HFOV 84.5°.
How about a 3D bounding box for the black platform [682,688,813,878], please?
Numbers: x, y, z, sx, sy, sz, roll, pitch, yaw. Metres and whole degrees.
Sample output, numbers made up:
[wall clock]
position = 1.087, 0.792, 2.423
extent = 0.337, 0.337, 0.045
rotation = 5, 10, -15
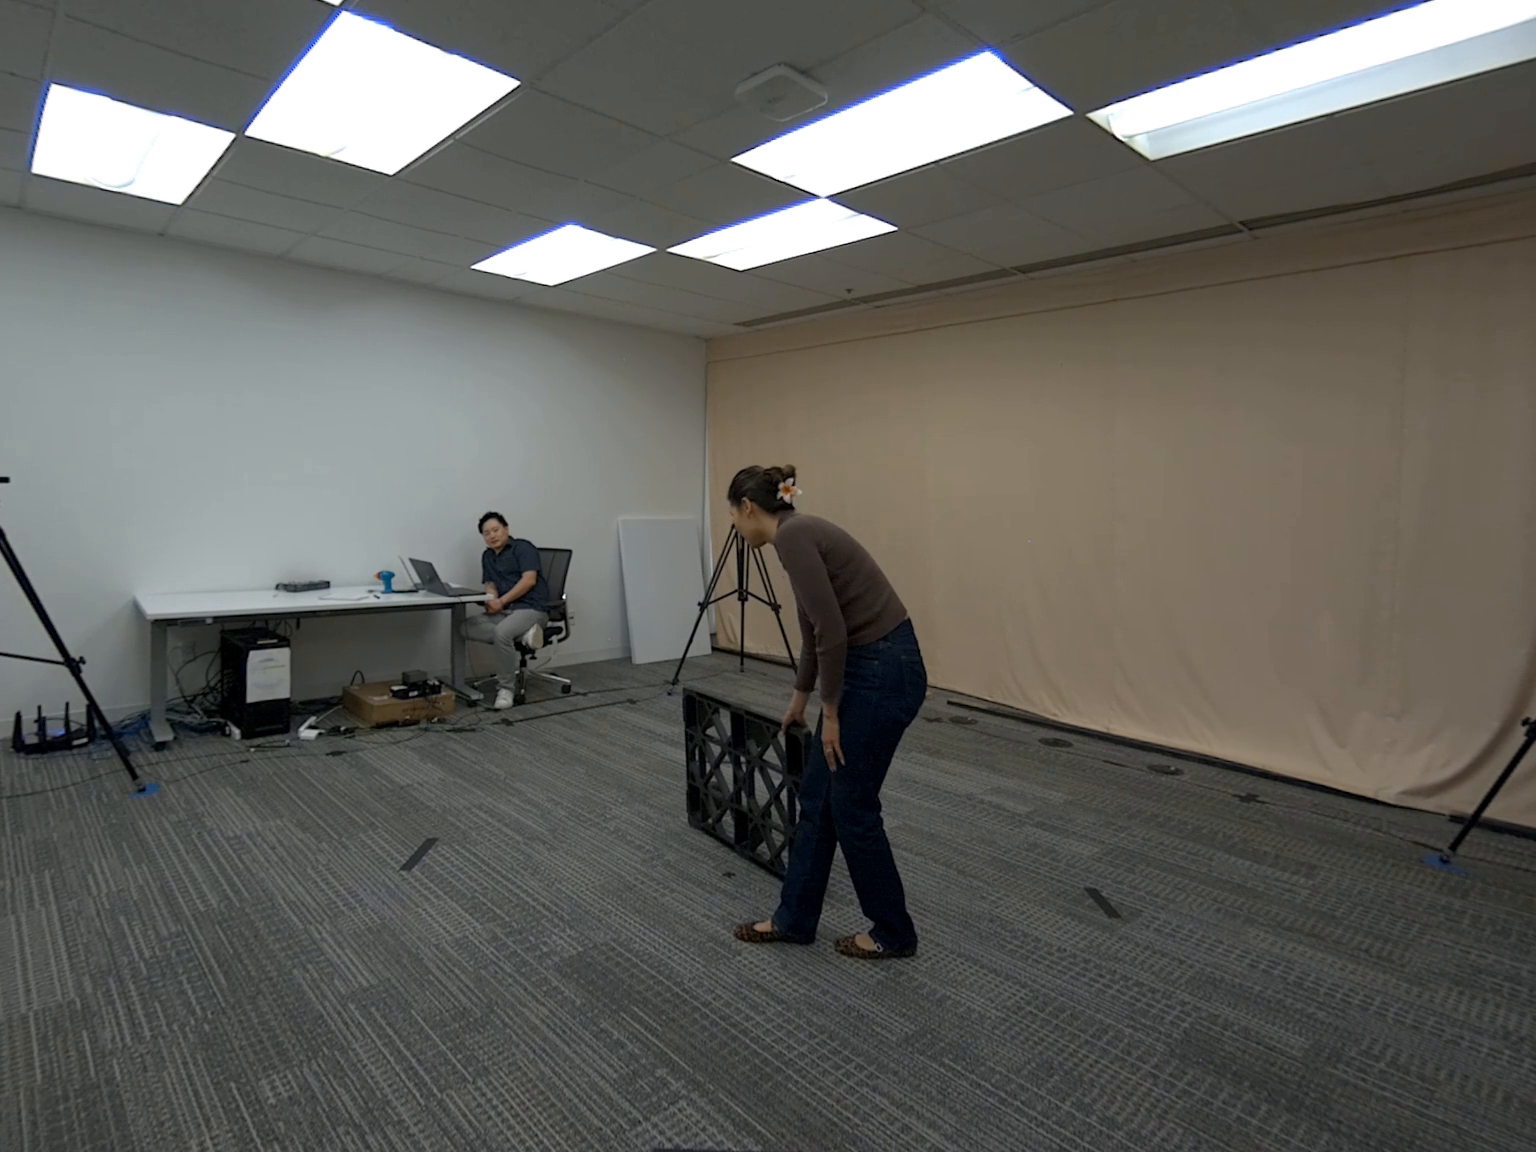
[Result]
[black platform]
position = -0.069, 0.790, 3.269
extent = 0.140, 0.602, 0.825
rotation = -6, 8, -35
